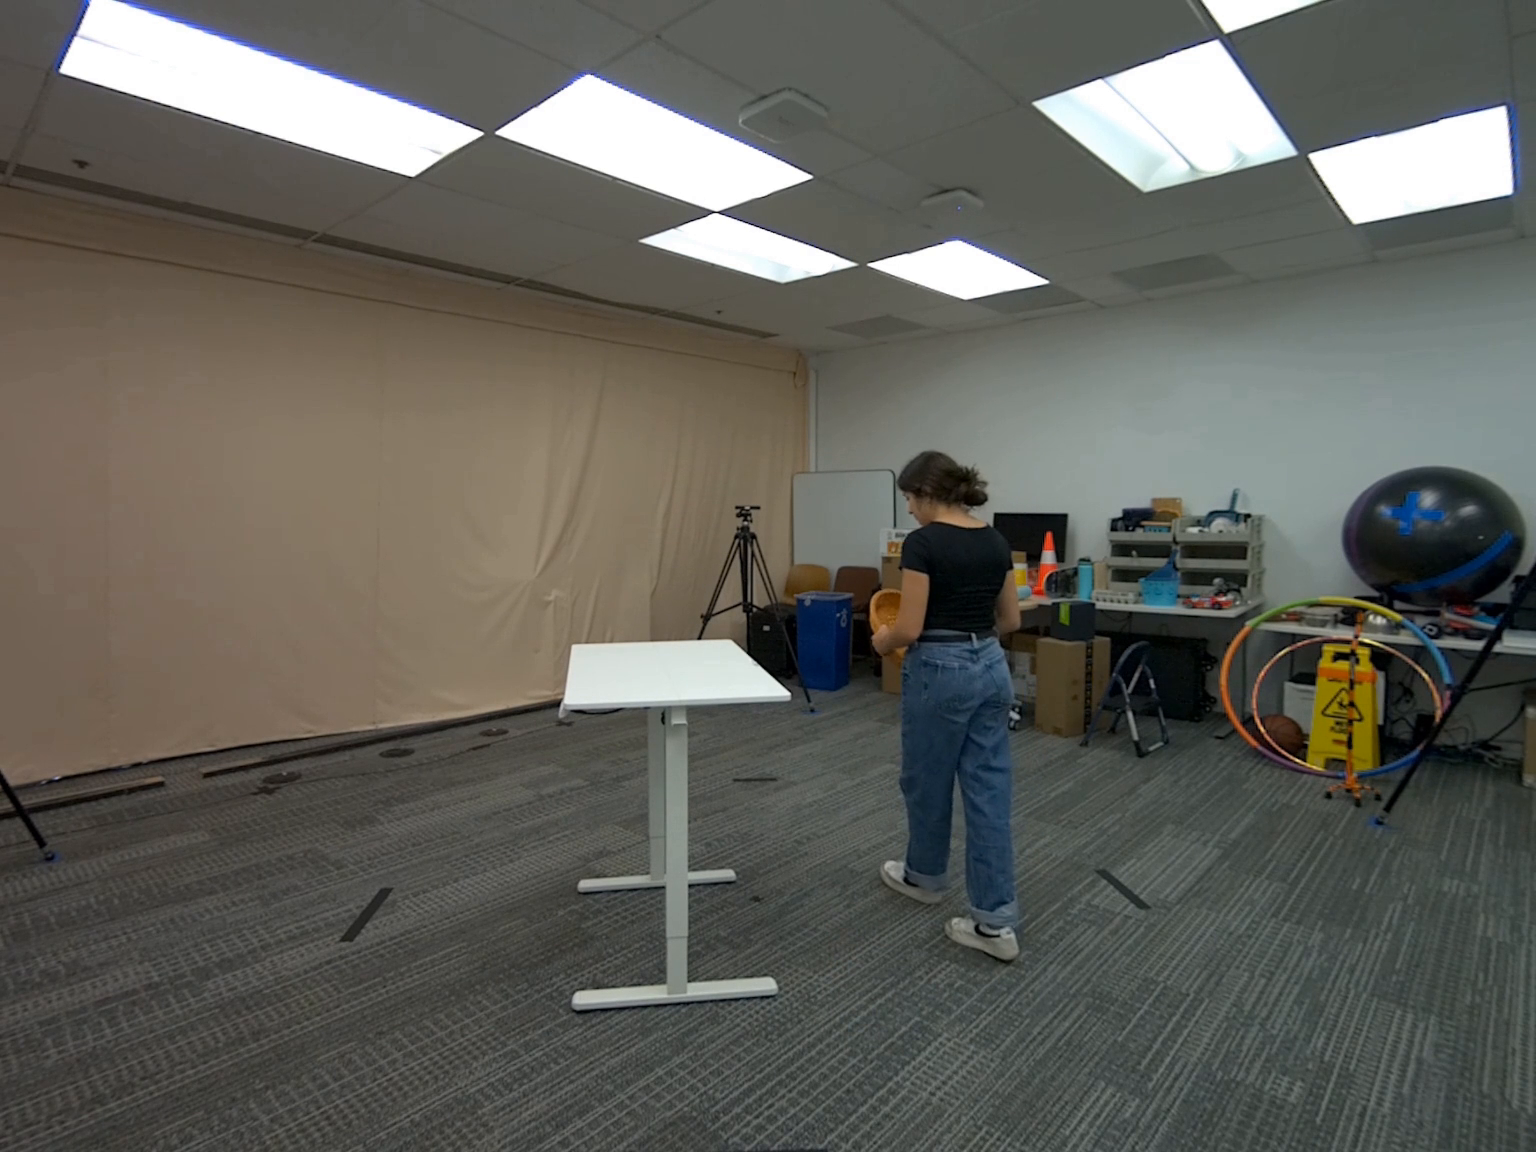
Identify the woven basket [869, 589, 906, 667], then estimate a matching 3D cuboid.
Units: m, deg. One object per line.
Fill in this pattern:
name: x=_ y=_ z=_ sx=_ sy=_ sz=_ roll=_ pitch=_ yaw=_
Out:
woven basket: x=0.494 y=0.203 z=3.003 sx=0.245 sy=0.359 sz=0.073 roll=3 pitch=-39 yaw=-28
